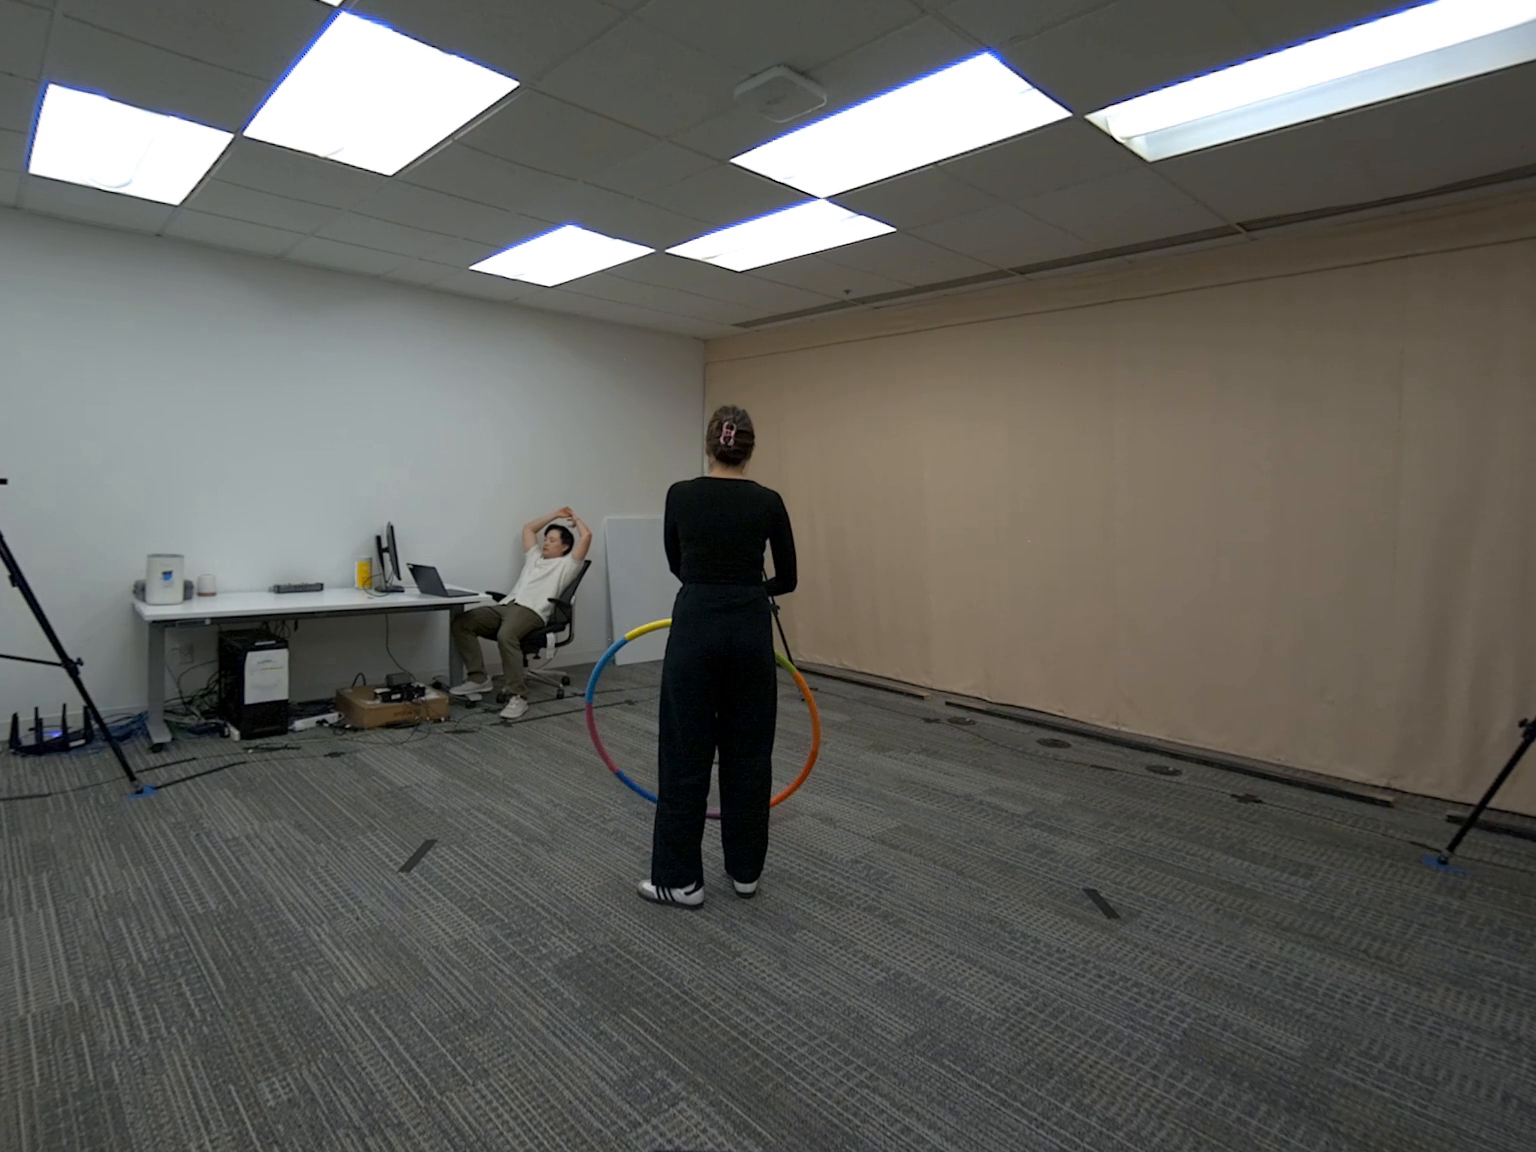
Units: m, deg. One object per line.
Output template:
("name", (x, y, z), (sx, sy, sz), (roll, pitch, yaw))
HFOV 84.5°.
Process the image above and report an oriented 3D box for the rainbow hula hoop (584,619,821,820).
("rainbow hula hoop", (-0.286, 0.609, 3.502), (0.986, 0.961, 0.036), (3, 25, 9))
